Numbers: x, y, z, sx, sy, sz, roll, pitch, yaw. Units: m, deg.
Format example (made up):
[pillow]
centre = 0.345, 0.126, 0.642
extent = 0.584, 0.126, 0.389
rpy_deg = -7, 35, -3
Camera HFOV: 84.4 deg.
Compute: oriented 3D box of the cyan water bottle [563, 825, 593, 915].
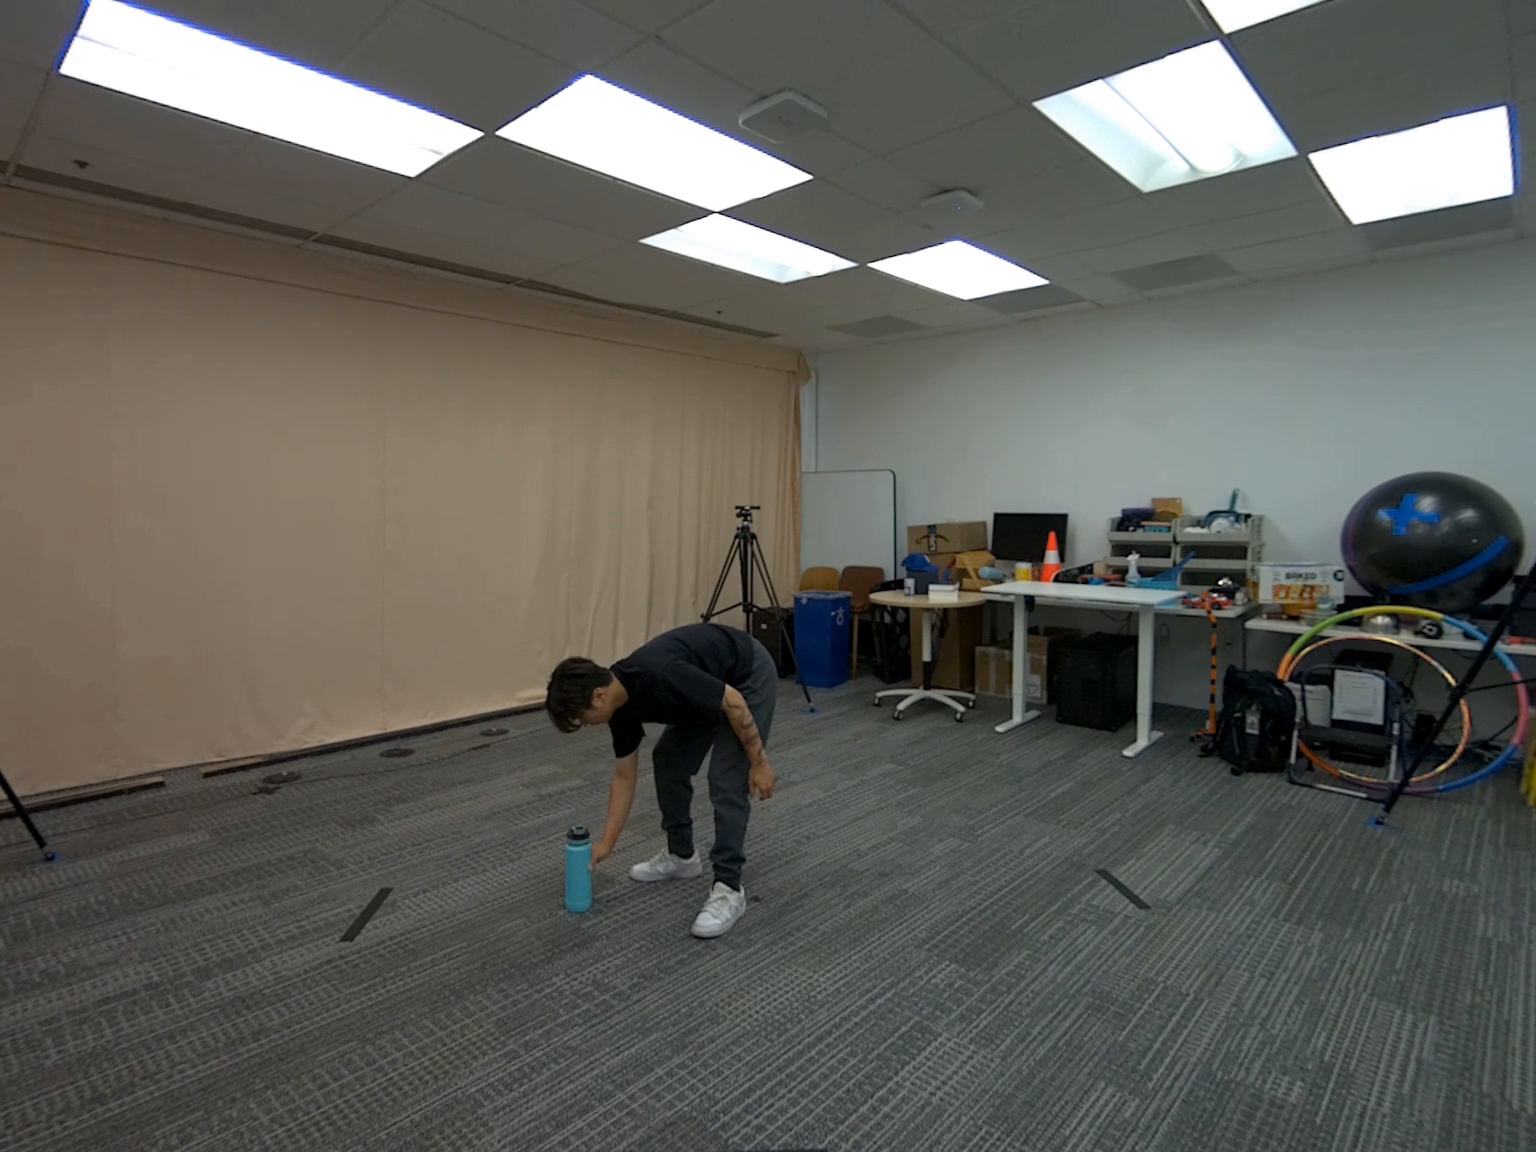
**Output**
[cyan water bottle]
centre = -0.663, 1.021, 2.931
extent = 0.092, 0.283, 0.092
rpy_deg = 0, 2, -2
